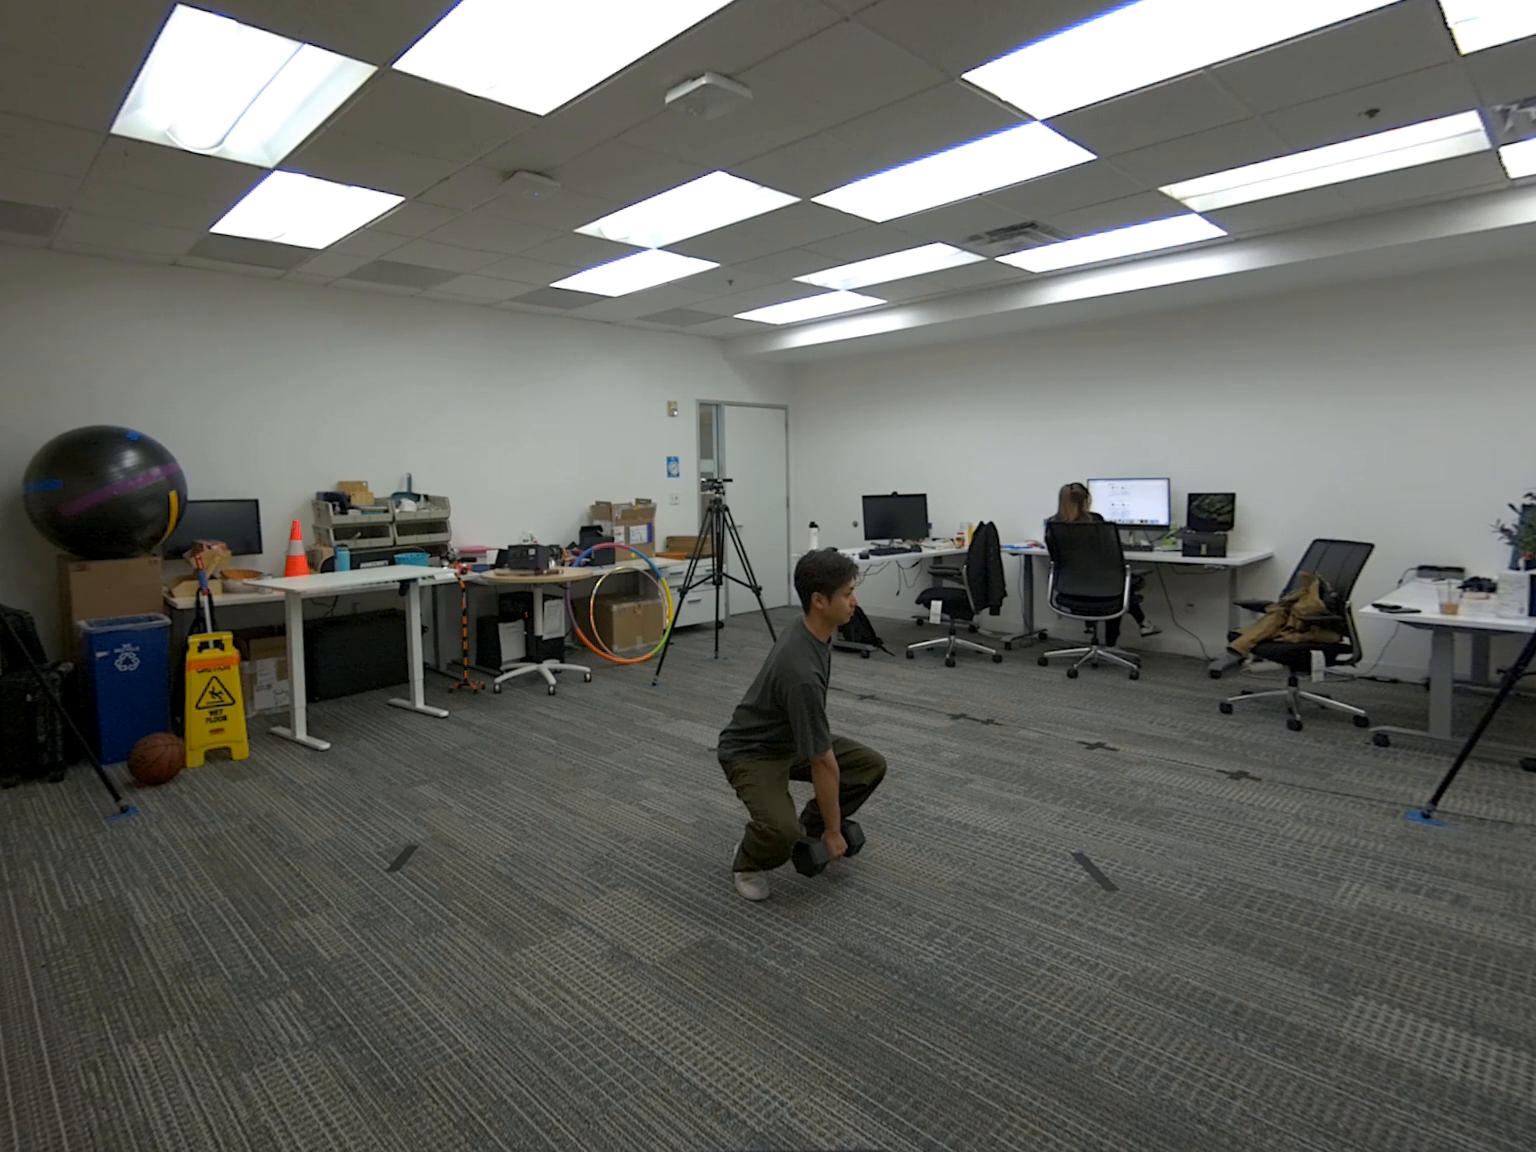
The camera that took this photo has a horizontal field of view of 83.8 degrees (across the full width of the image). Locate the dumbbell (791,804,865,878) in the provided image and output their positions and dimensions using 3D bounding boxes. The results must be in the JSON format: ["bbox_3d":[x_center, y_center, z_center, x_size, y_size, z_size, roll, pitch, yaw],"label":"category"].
[{"bbox_3d":[0.210,0.924,2.897,0.286,0.122,0.113,-6,35,-48],"label":"dumbbell"}]
